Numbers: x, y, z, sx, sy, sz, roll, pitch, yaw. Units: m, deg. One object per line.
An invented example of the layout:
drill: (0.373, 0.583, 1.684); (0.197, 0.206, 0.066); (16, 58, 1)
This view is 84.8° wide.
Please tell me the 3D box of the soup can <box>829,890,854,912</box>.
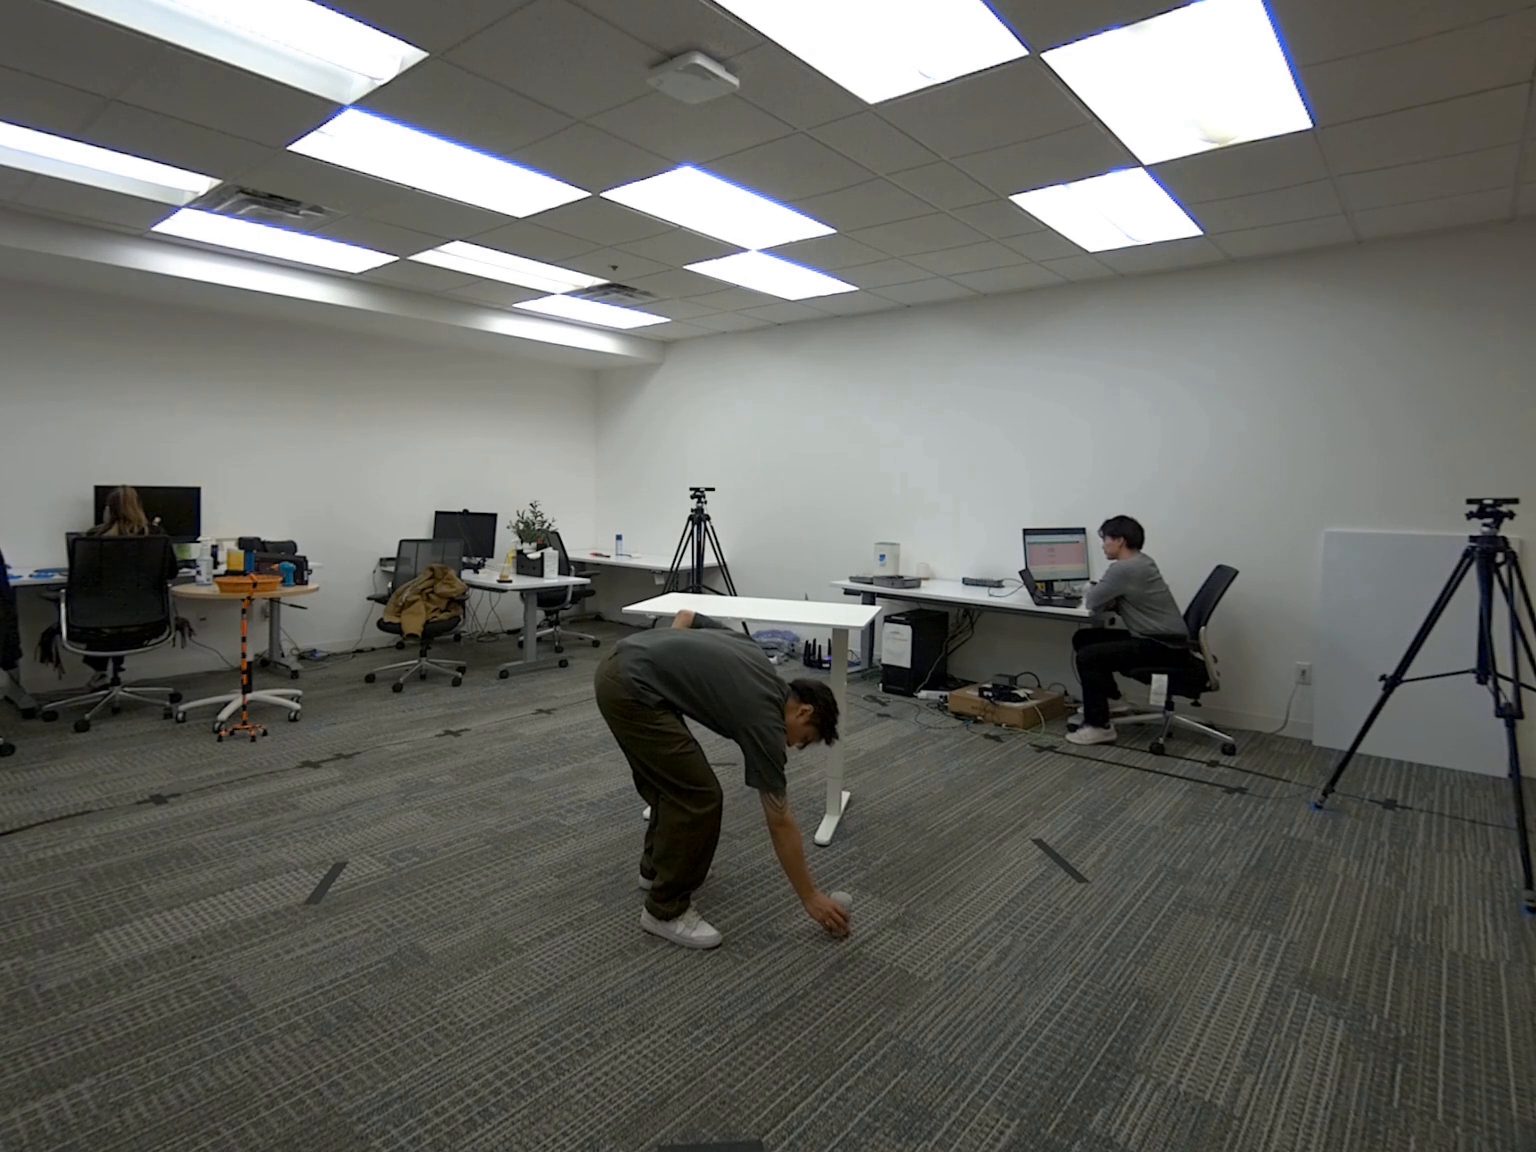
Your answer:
soup can: (0.220, 1.073, 2.658); (0.067, 0.121, 0.067); (1, 7, -2)
